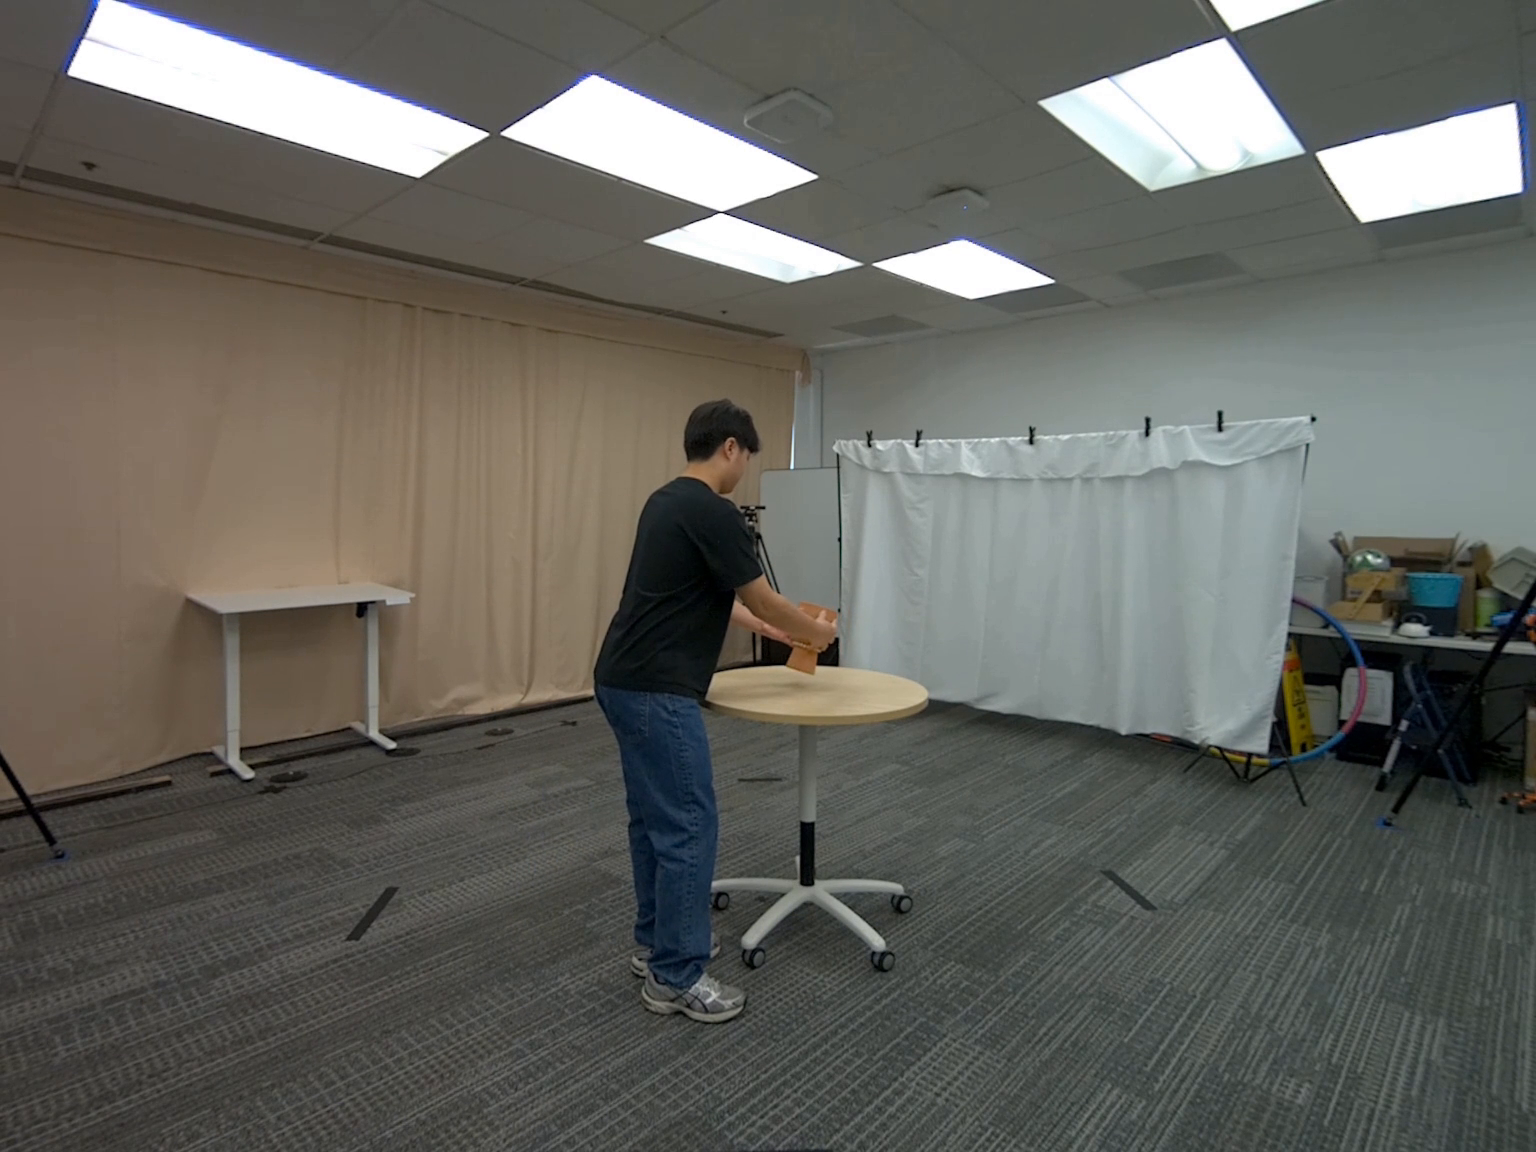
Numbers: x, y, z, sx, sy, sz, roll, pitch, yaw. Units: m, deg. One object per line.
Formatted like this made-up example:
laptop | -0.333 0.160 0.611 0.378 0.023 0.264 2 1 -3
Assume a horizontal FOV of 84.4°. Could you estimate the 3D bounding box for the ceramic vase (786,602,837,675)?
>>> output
ceramic vase | 0.145 0.210 2.766 0.159 0.220 0.134 13 -5 0
